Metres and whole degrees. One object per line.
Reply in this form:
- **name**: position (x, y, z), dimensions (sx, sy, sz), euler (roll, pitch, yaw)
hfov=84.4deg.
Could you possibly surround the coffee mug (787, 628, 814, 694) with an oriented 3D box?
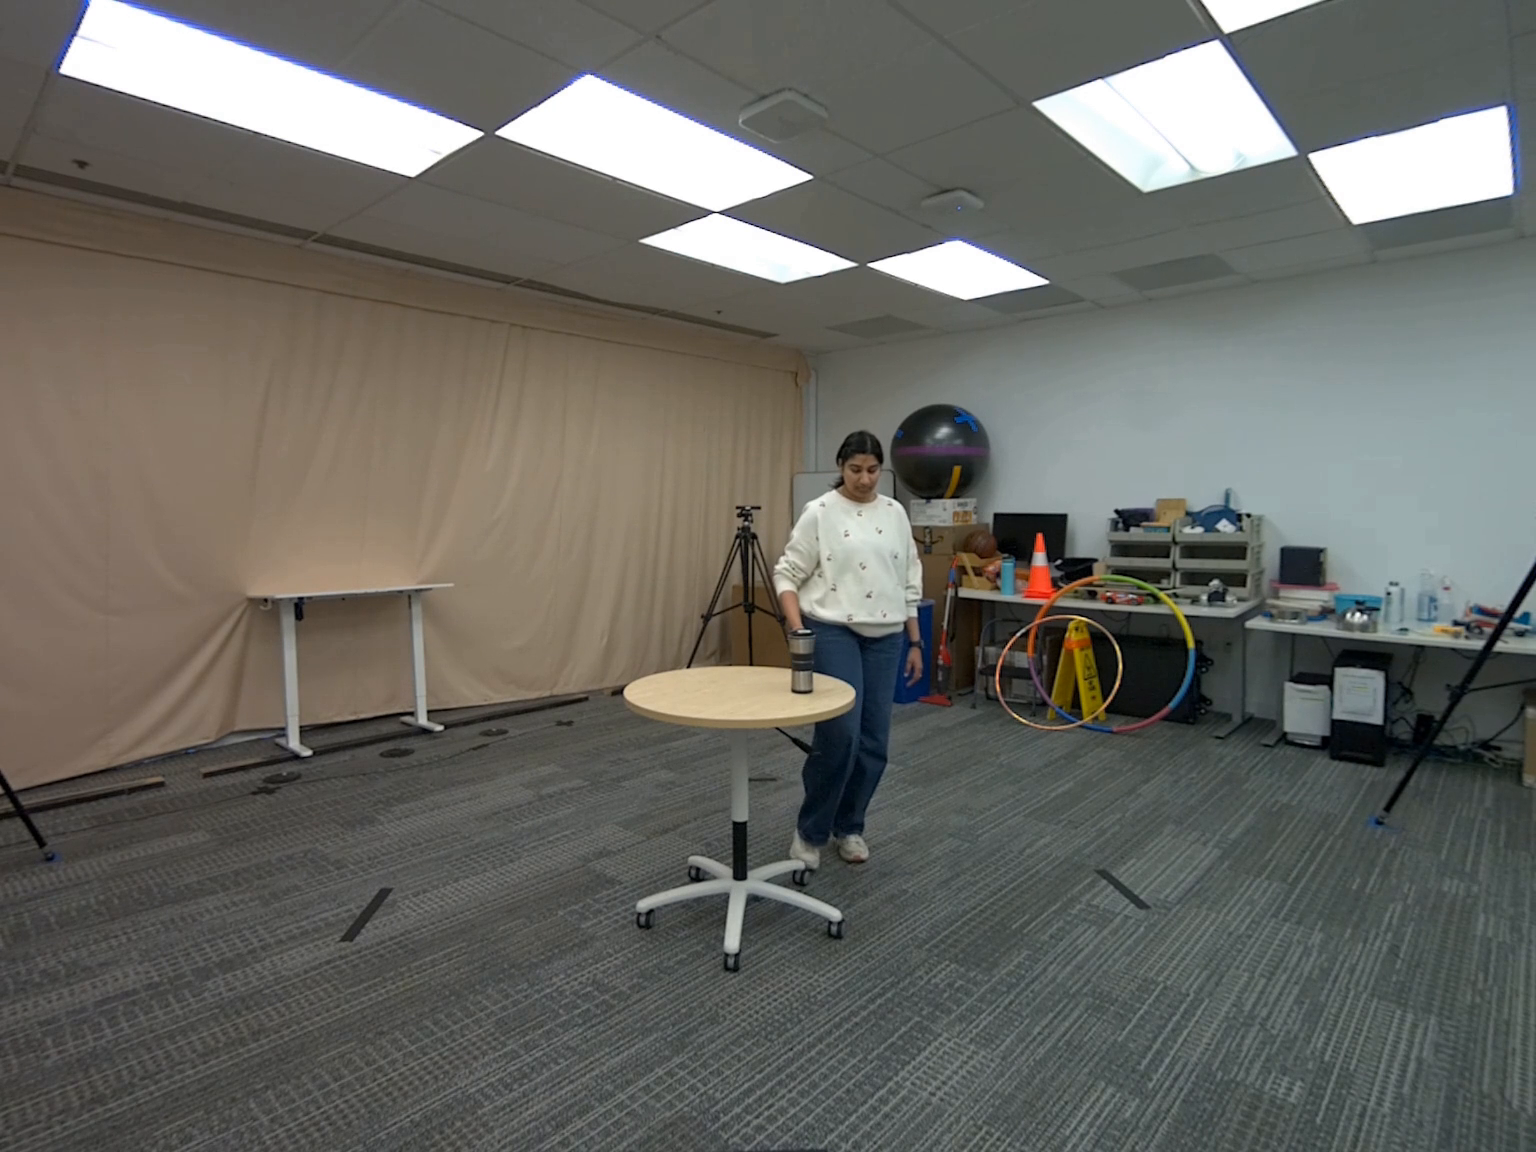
- **coffee mug**: position (0.129, 0.280, 2.769), dimensions (0.119, 0.203, 0.090), euler (-6, 2, -33)
